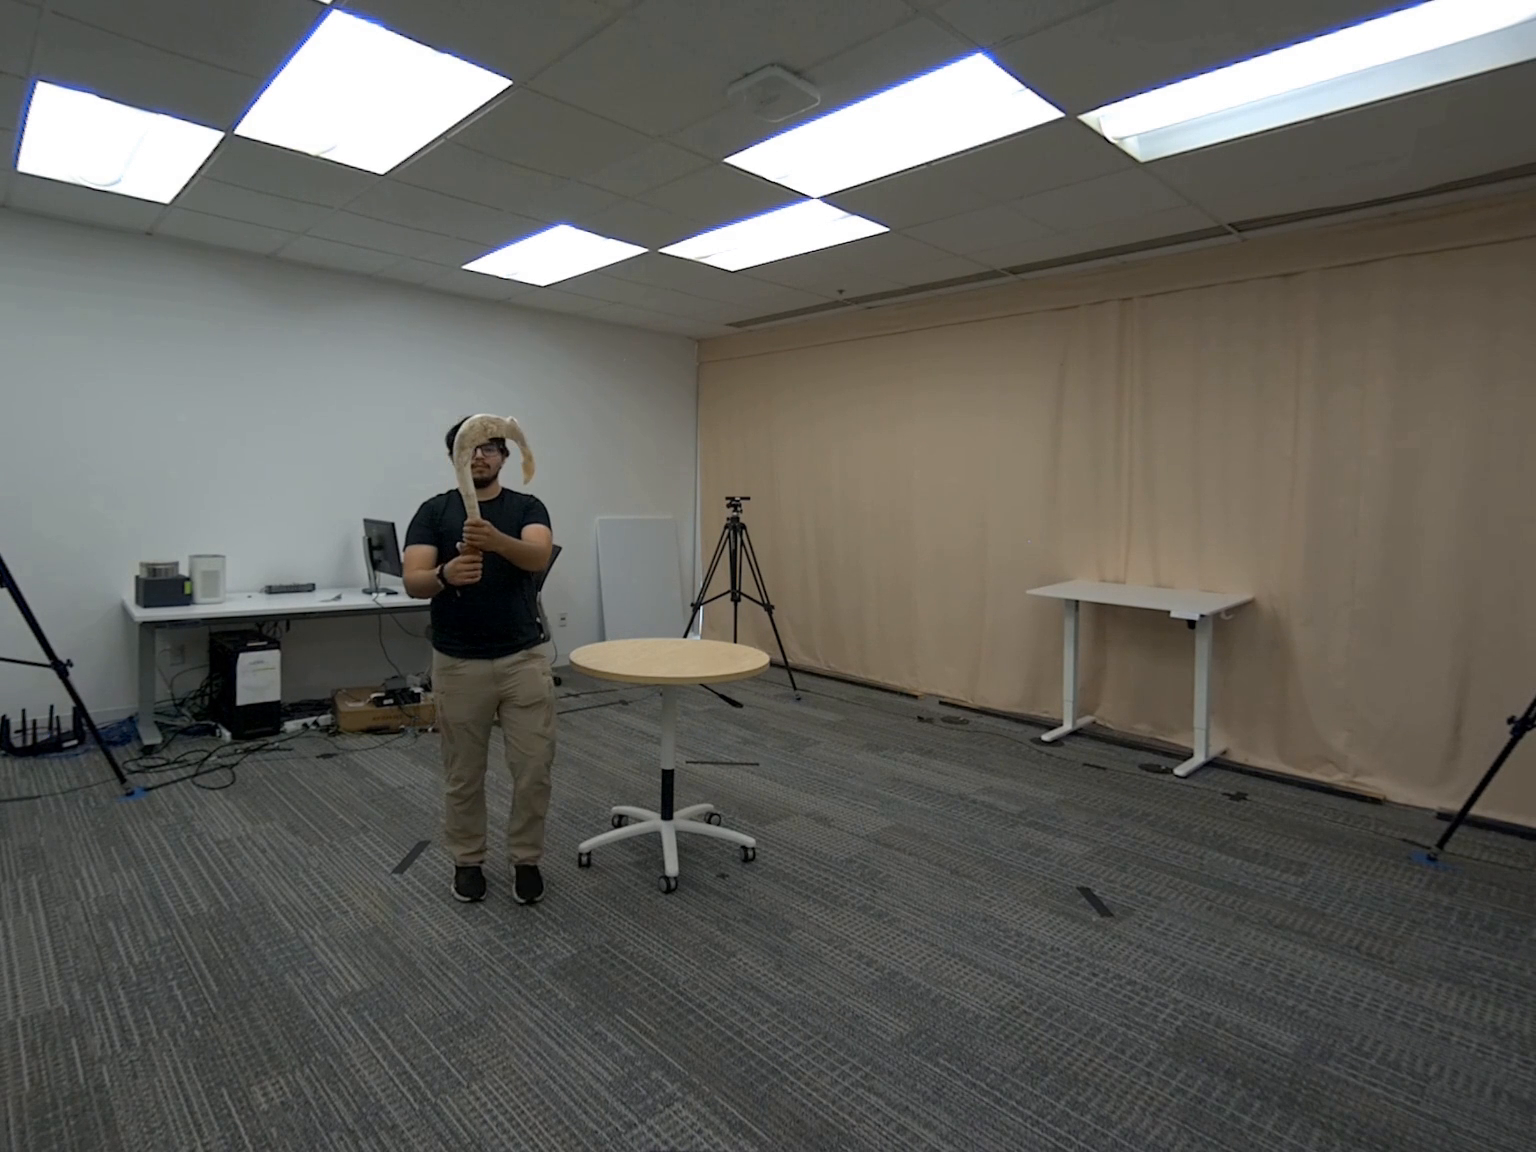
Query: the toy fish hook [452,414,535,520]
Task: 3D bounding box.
[{"bbox_3d":[-0.821,-0.217,2.447,0.223,0.502,0.049,4,14,-9],"label":"toy fish hook"}]
